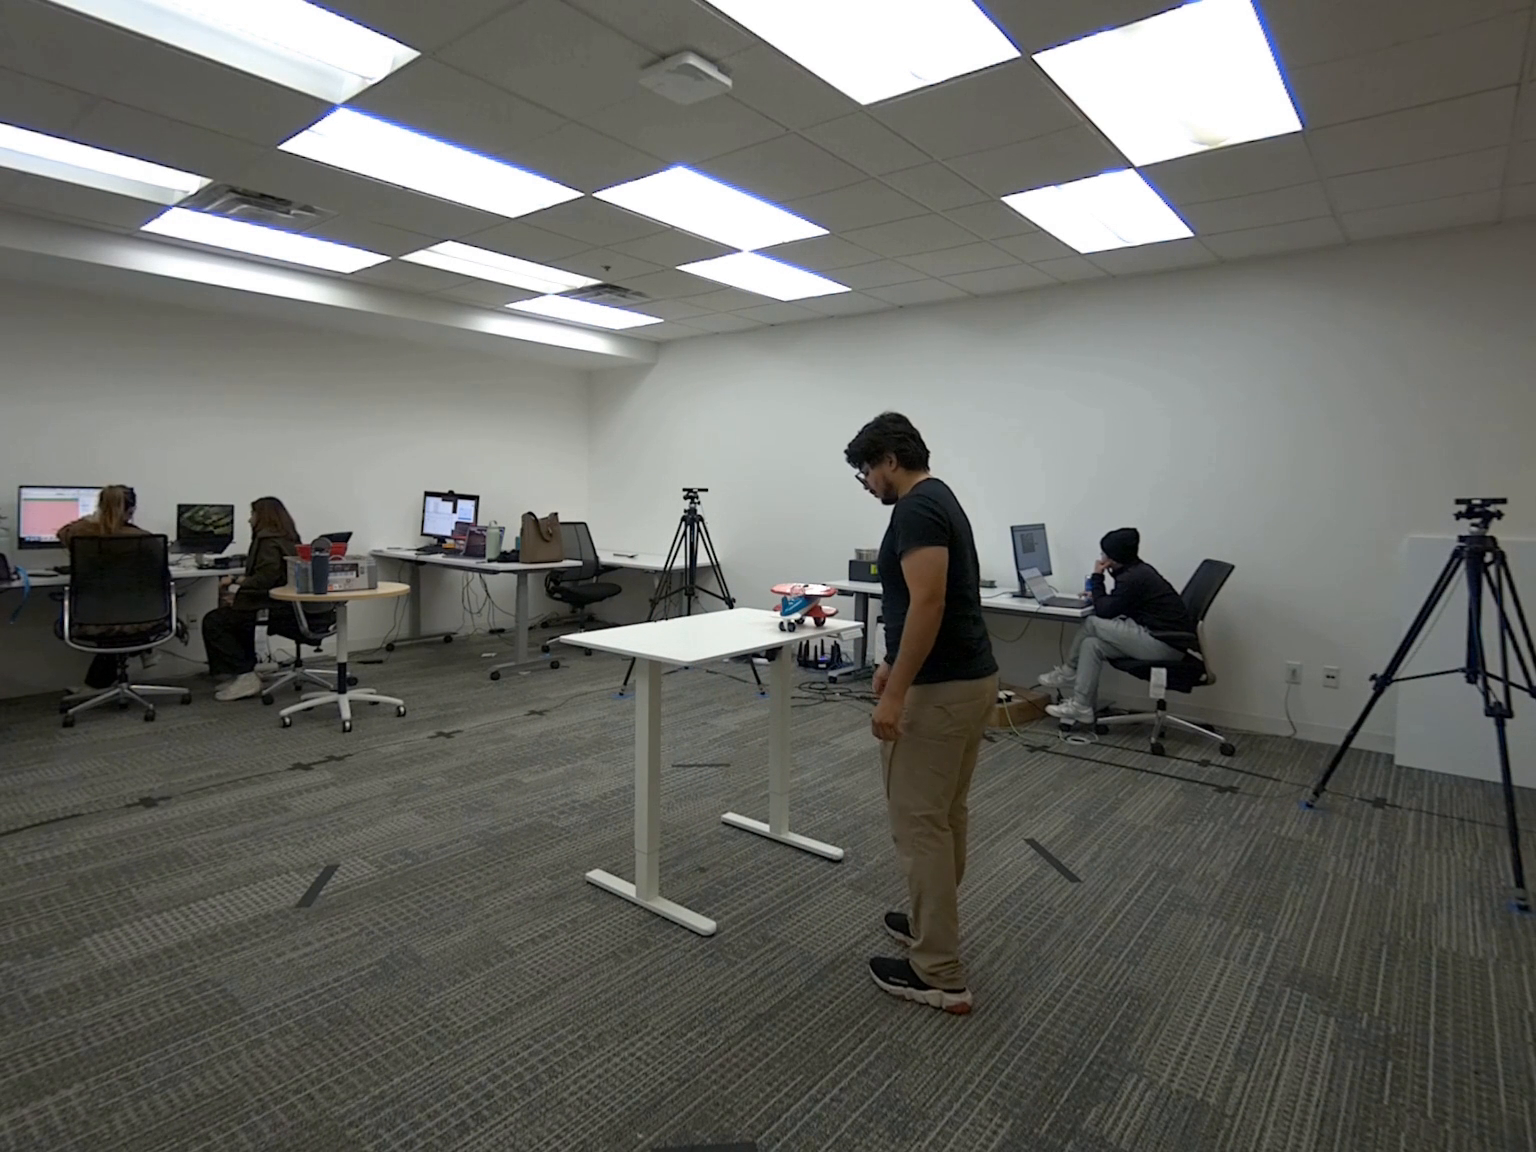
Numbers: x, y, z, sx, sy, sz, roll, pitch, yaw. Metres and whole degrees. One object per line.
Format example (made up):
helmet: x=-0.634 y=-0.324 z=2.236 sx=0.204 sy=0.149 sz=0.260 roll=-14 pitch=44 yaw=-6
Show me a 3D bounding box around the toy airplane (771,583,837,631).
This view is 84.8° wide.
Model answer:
toy airplane: x=0.123 y=0.112 z=3.113 sx=0.252 sy=0.156 sz=0.259 roll=-1 pitch=4 yaw=3
